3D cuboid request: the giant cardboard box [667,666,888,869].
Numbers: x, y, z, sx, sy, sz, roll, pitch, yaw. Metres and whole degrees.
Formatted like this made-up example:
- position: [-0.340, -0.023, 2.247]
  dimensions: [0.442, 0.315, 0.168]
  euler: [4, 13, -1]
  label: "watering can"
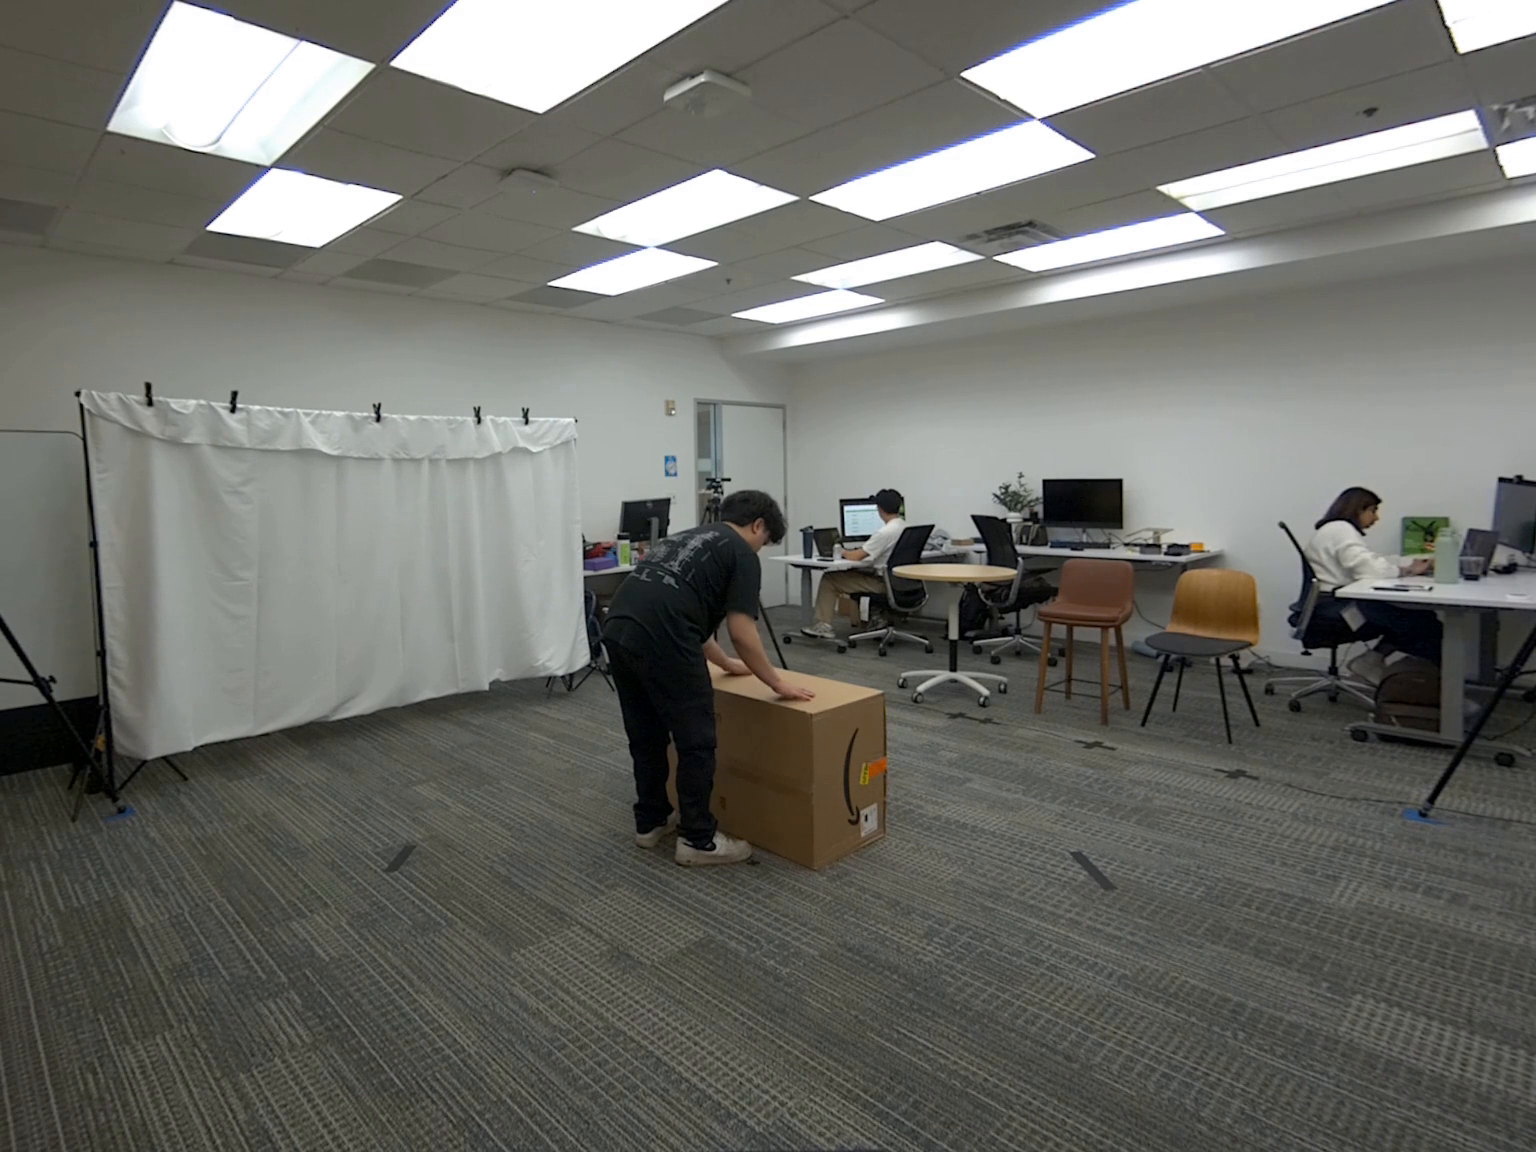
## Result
- position: [-0.054, 0.709, 3.530]
  dimensions: [0.435, 0.582, 1.059]
  euler: [-4, 7, -44]
  label: "giant cardboard box"
